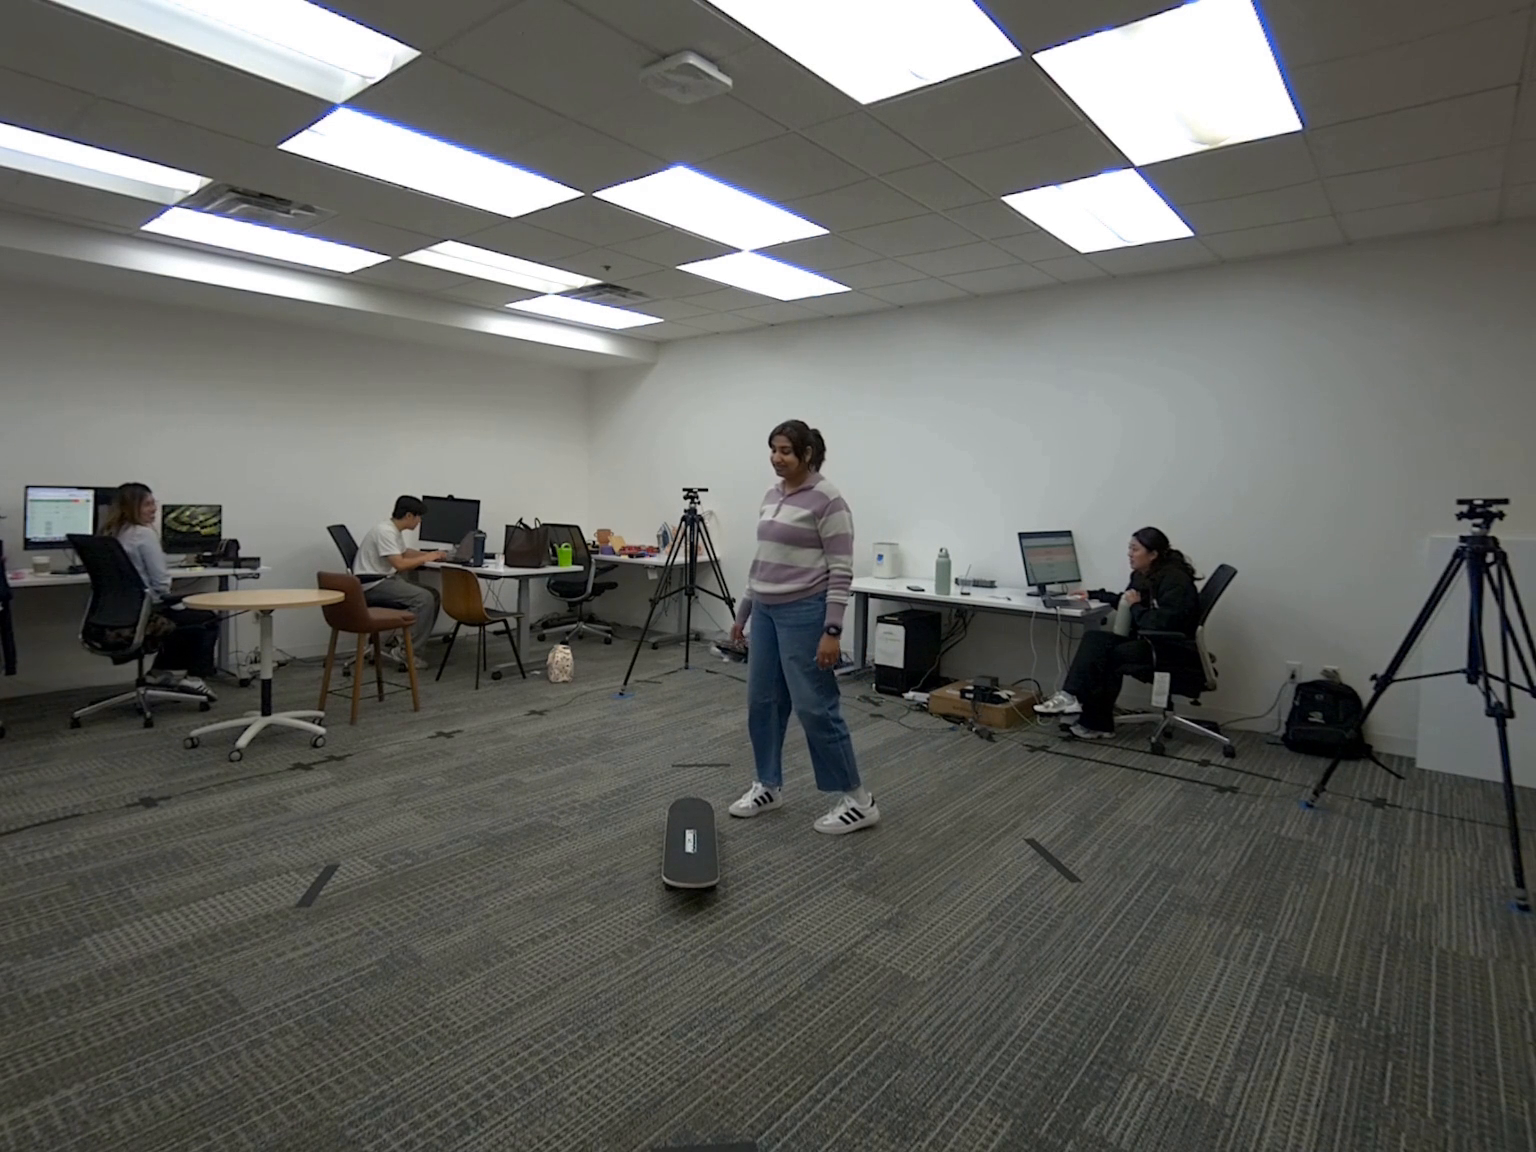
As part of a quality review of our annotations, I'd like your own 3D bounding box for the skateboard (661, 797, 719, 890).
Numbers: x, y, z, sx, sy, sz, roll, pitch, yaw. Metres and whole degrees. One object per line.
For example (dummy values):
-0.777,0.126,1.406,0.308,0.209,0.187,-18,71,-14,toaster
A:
-0.295,1.004,3.147,0.193,0.110,0.791,1,5,-5,skateboard
